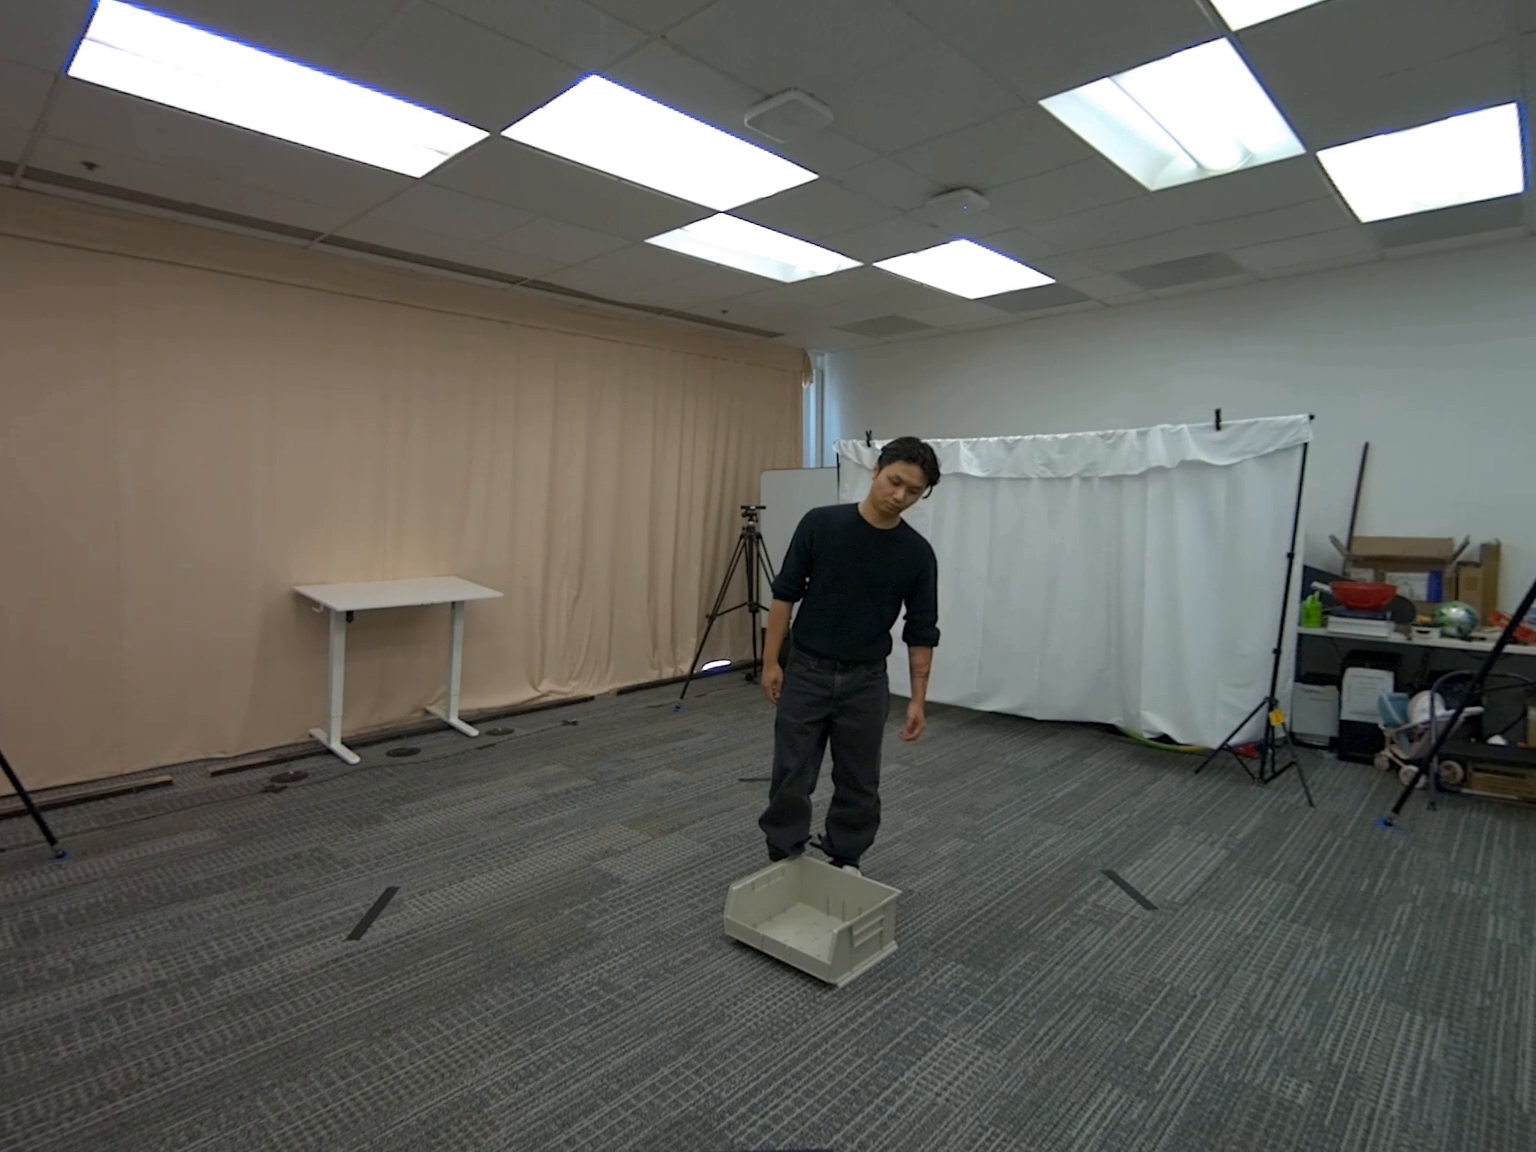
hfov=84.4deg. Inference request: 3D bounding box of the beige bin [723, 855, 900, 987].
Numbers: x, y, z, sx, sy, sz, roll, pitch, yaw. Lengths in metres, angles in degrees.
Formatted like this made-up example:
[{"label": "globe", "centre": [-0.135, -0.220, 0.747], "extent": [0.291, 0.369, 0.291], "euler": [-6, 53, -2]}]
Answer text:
[{"label": "beige bin", "centre": [0.141, 1.082, 2.659], "extent": [0.436, 0.189, 0.365], "euler": [3, 4, 43]}]
